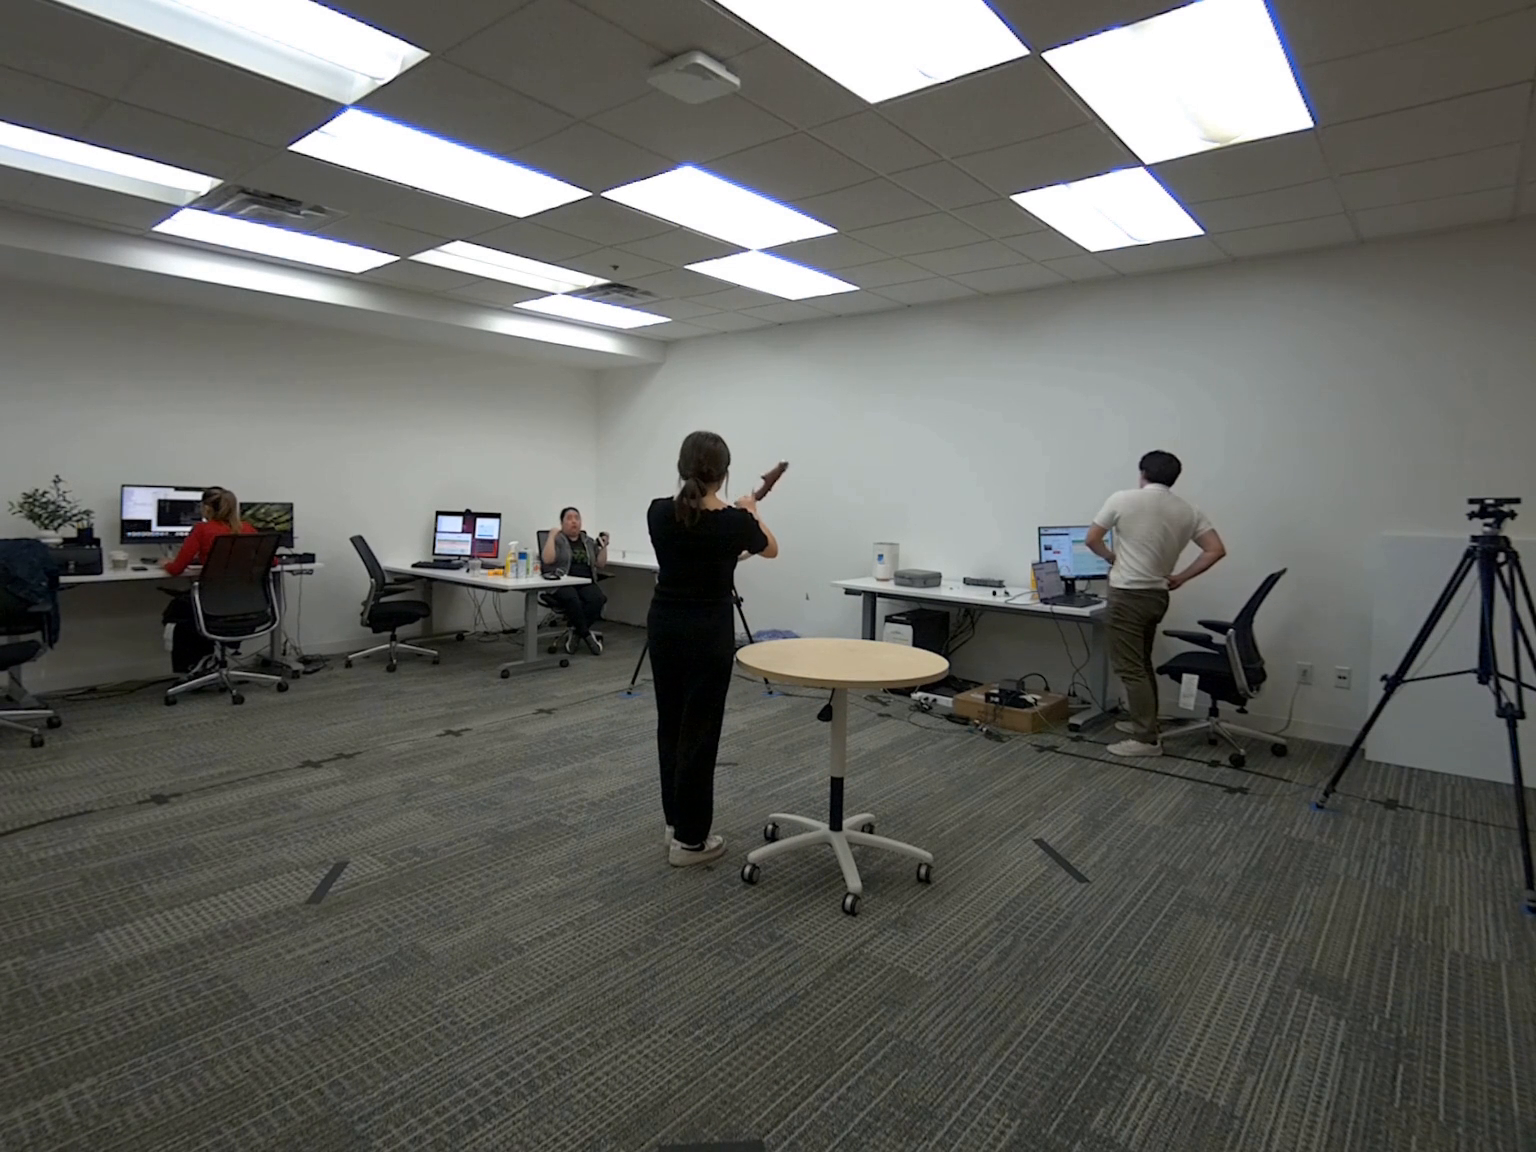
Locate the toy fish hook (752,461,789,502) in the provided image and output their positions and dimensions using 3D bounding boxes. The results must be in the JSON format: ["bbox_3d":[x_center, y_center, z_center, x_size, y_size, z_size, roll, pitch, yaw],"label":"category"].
[{"bbox_3d":[-0.061,-0.261,3.568,0.224,0.506,0.048,42,15,-3],"label":"toy fish hook"}]
